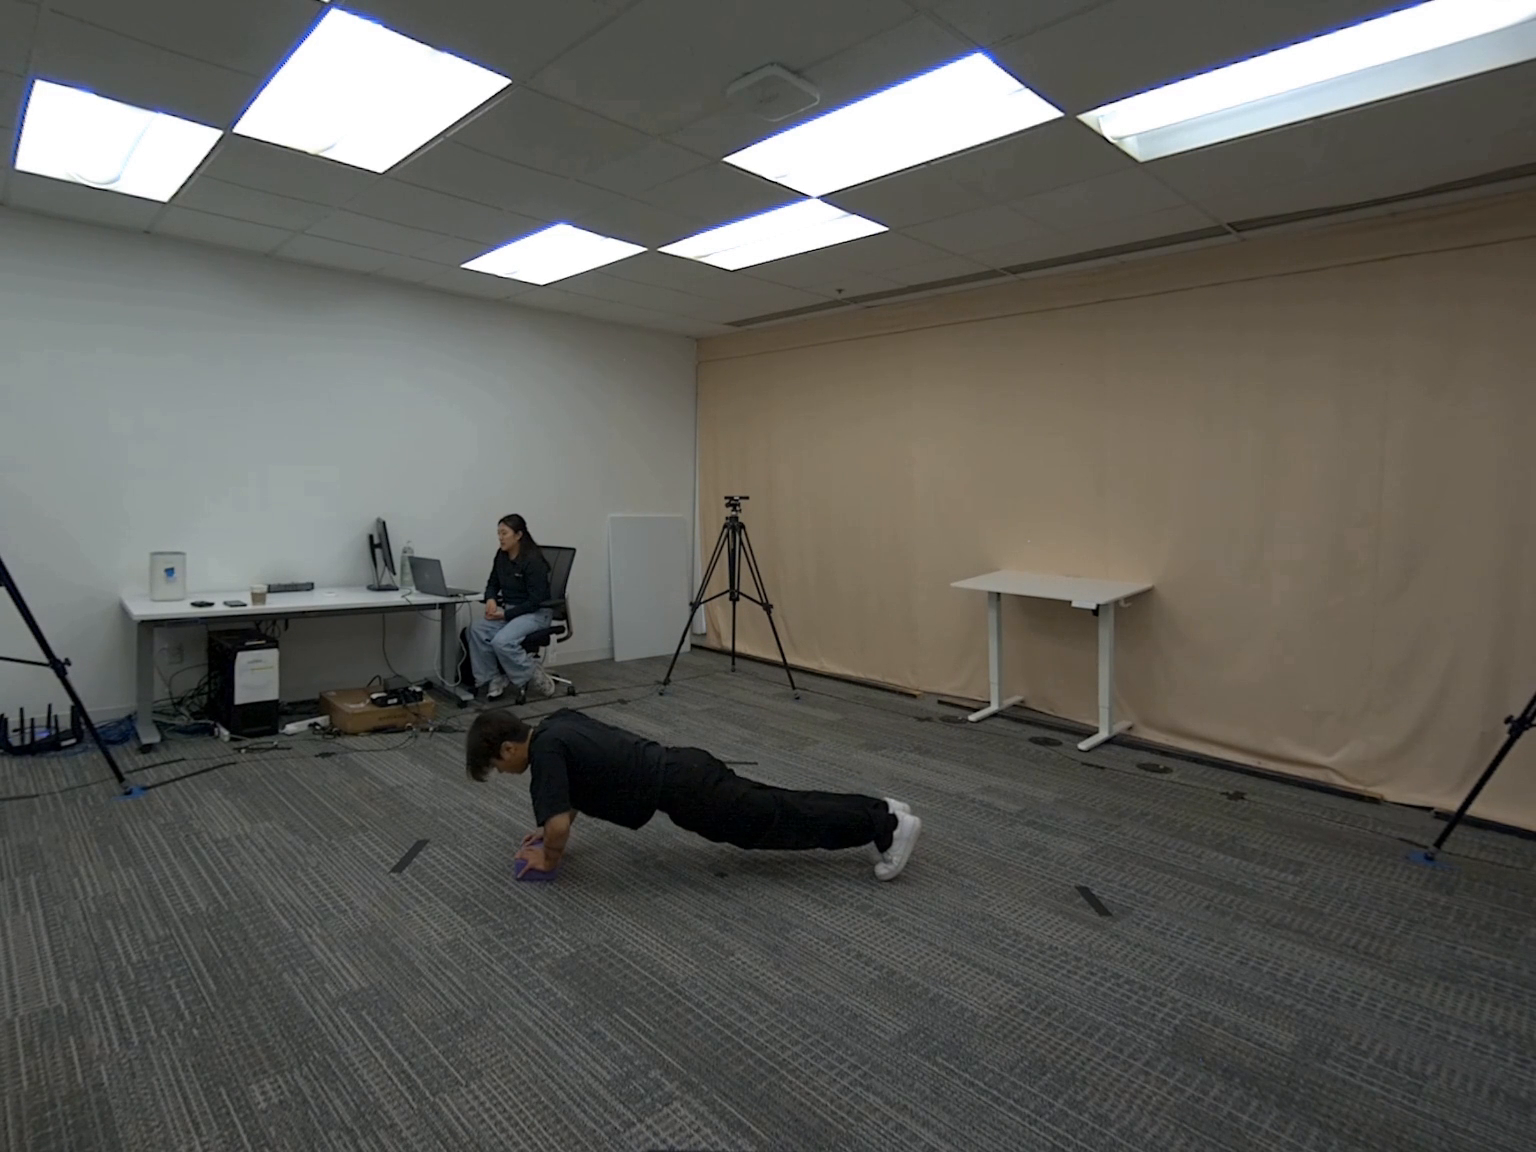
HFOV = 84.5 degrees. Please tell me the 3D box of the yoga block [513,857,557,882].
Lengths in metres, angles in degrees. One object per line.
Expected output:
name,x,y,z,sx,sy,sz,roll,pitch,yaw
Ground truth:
yoga block,-0.843,1.046,3.137,0.148,0.076,0.231,-1,6,-7
